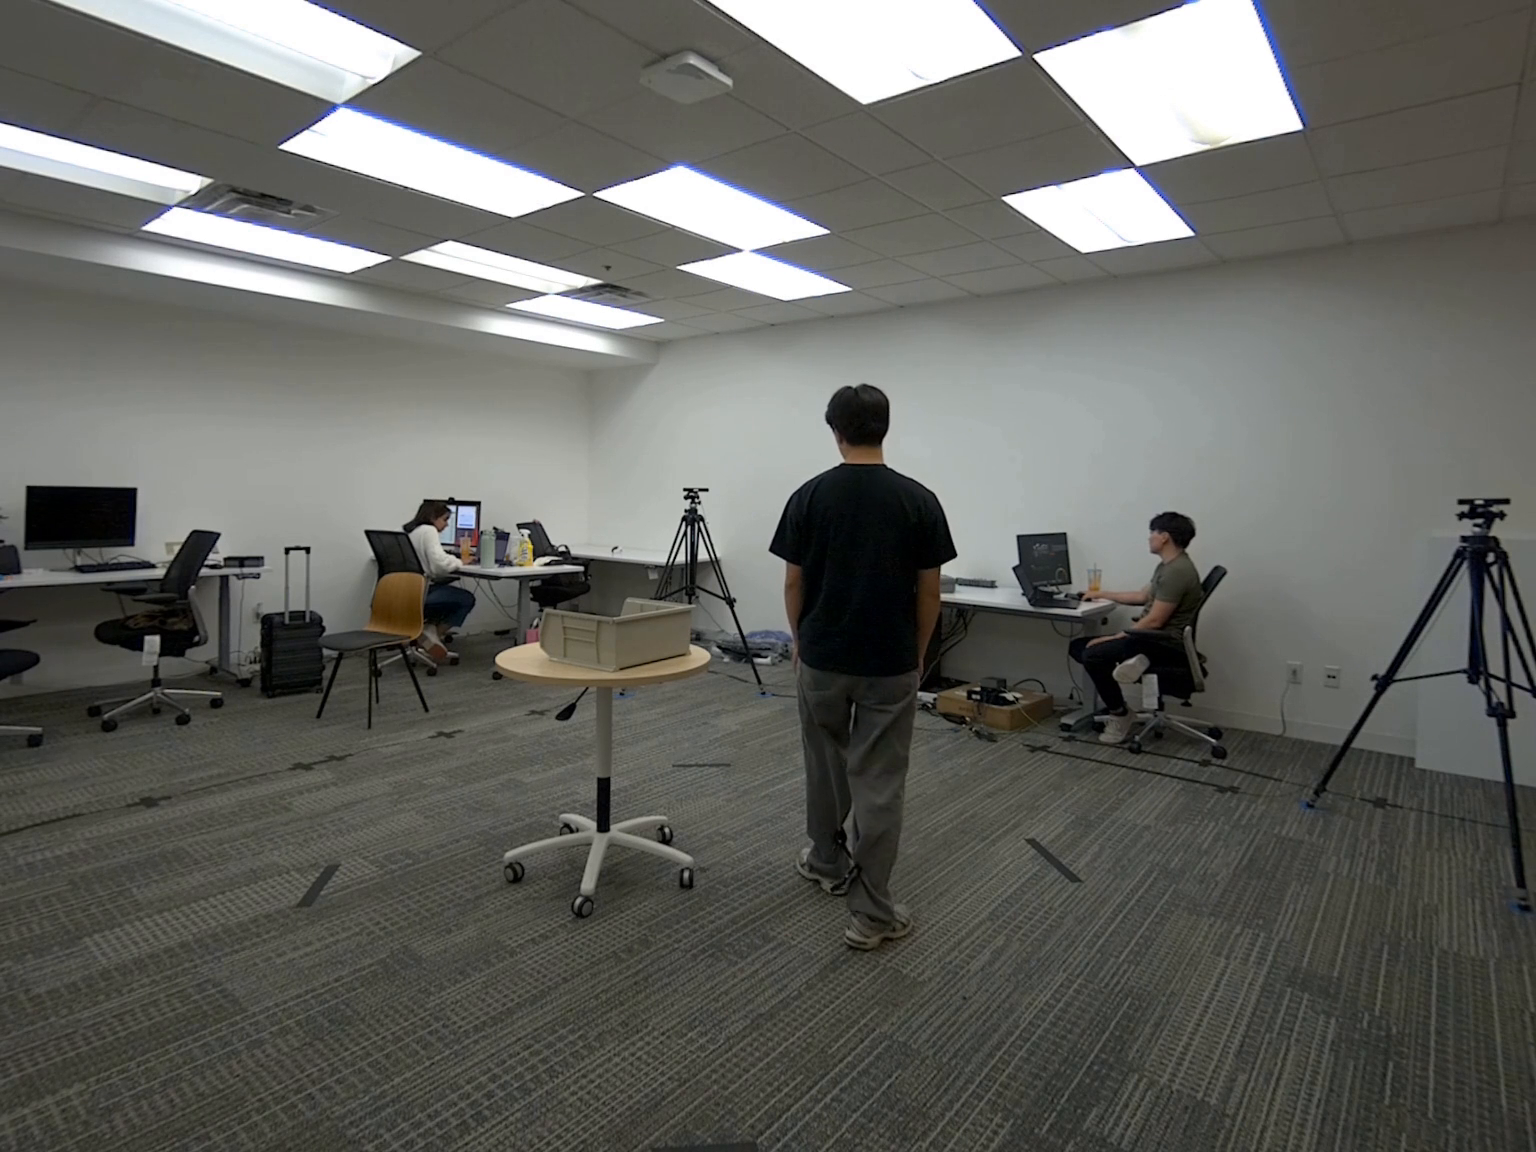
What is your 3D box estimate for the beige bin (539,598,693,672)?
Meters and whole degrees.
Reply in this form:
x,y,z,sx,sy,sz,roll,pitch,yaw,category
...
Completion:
x,y,z,sx,sy,sz,roll,pitch,yaw,category
-0.546,0.199,3.040,0.390,0.188,0.410,6,7,35,beige bin
